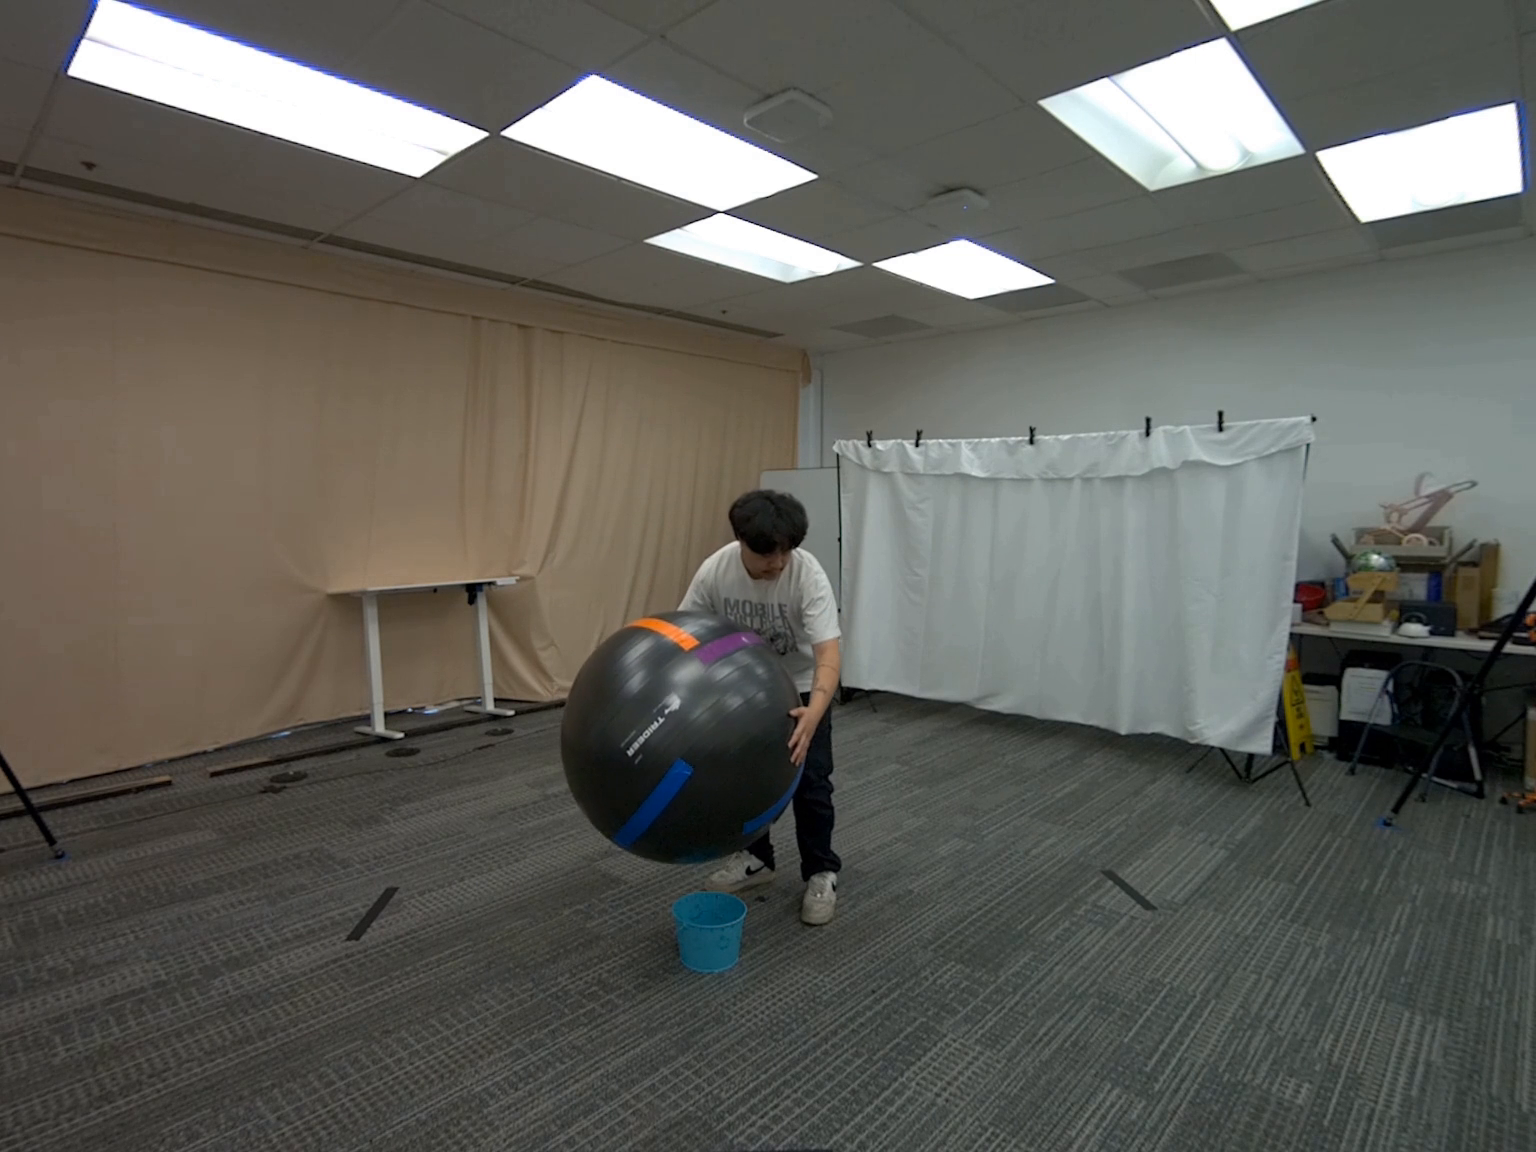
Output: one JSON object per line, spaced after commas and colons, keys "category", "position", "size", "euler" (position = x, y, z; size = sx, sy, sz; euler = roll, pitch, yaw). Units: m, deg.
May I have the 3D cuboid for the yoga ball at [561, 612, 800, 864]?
{"category": "yoga ball", "position": [-0.269, 0.488, 2.600], "size": [0.757, 0.756, 0.760], "euler": [0, 4, -2]}
